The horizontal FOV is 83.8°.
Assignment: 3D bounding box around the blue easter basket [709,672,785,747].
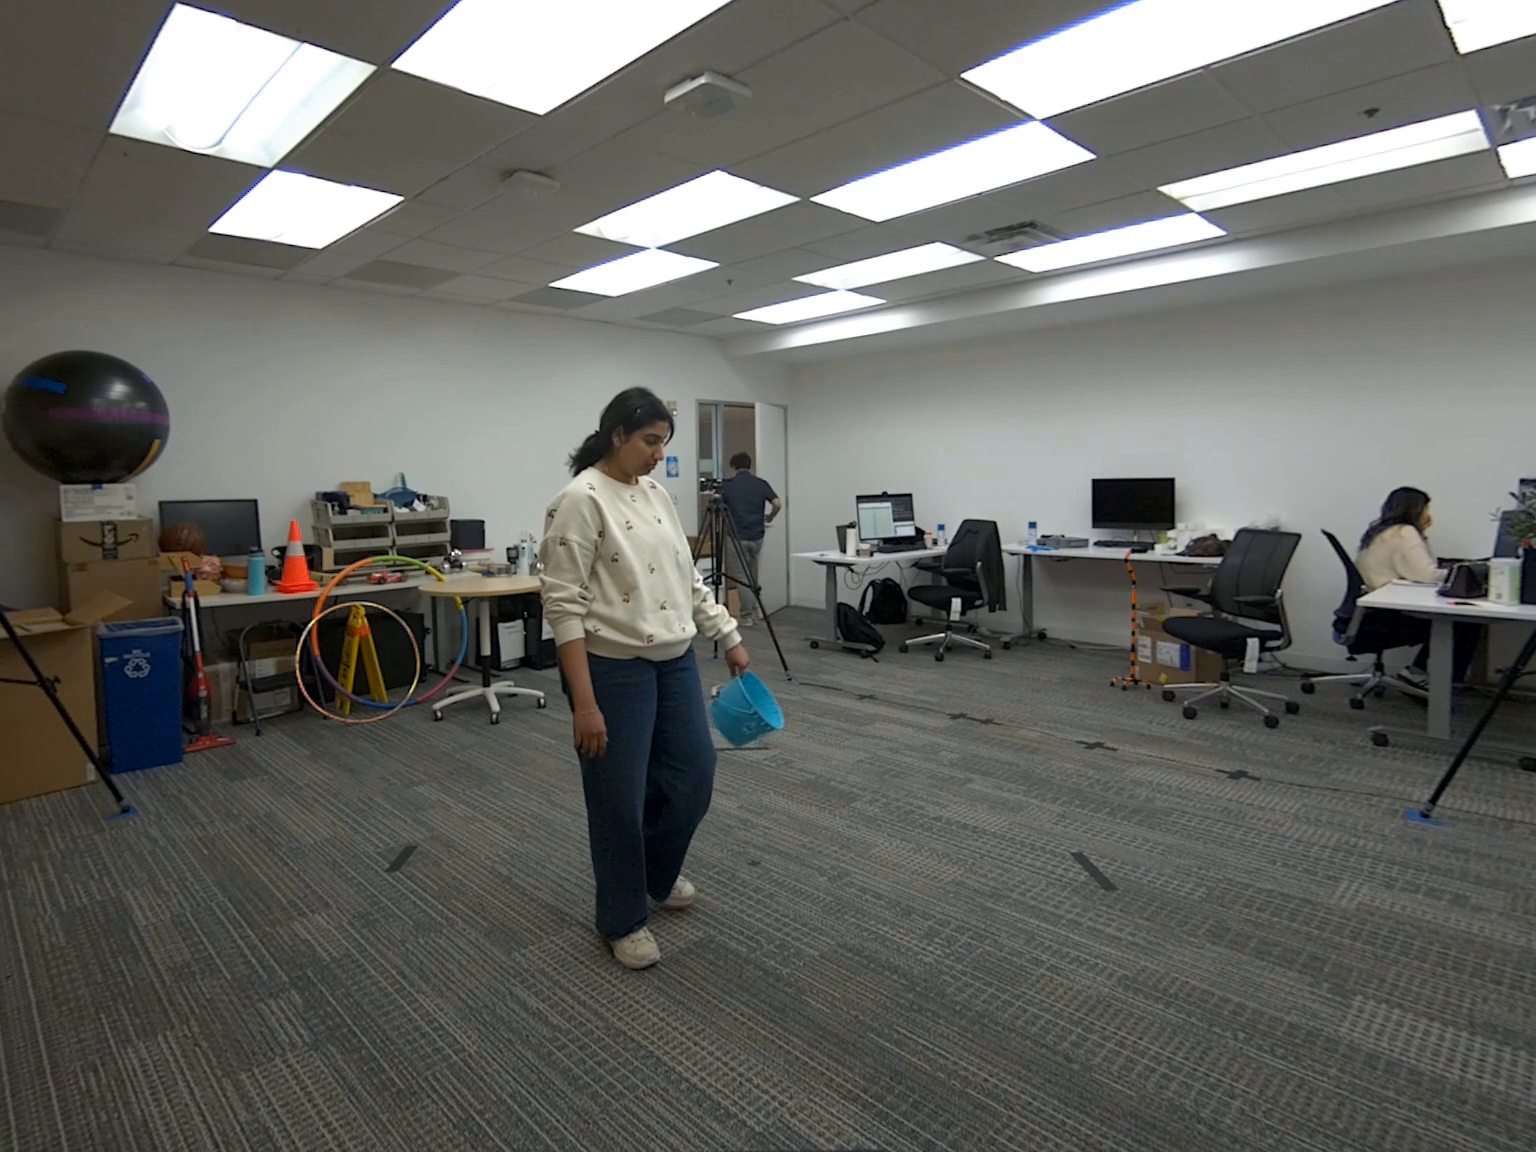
[{"bbox_3d":[-0.080,0.421,2.795,0.156,0.245,0.241,-36,-5,15],"label":"blue easter basket"}]
